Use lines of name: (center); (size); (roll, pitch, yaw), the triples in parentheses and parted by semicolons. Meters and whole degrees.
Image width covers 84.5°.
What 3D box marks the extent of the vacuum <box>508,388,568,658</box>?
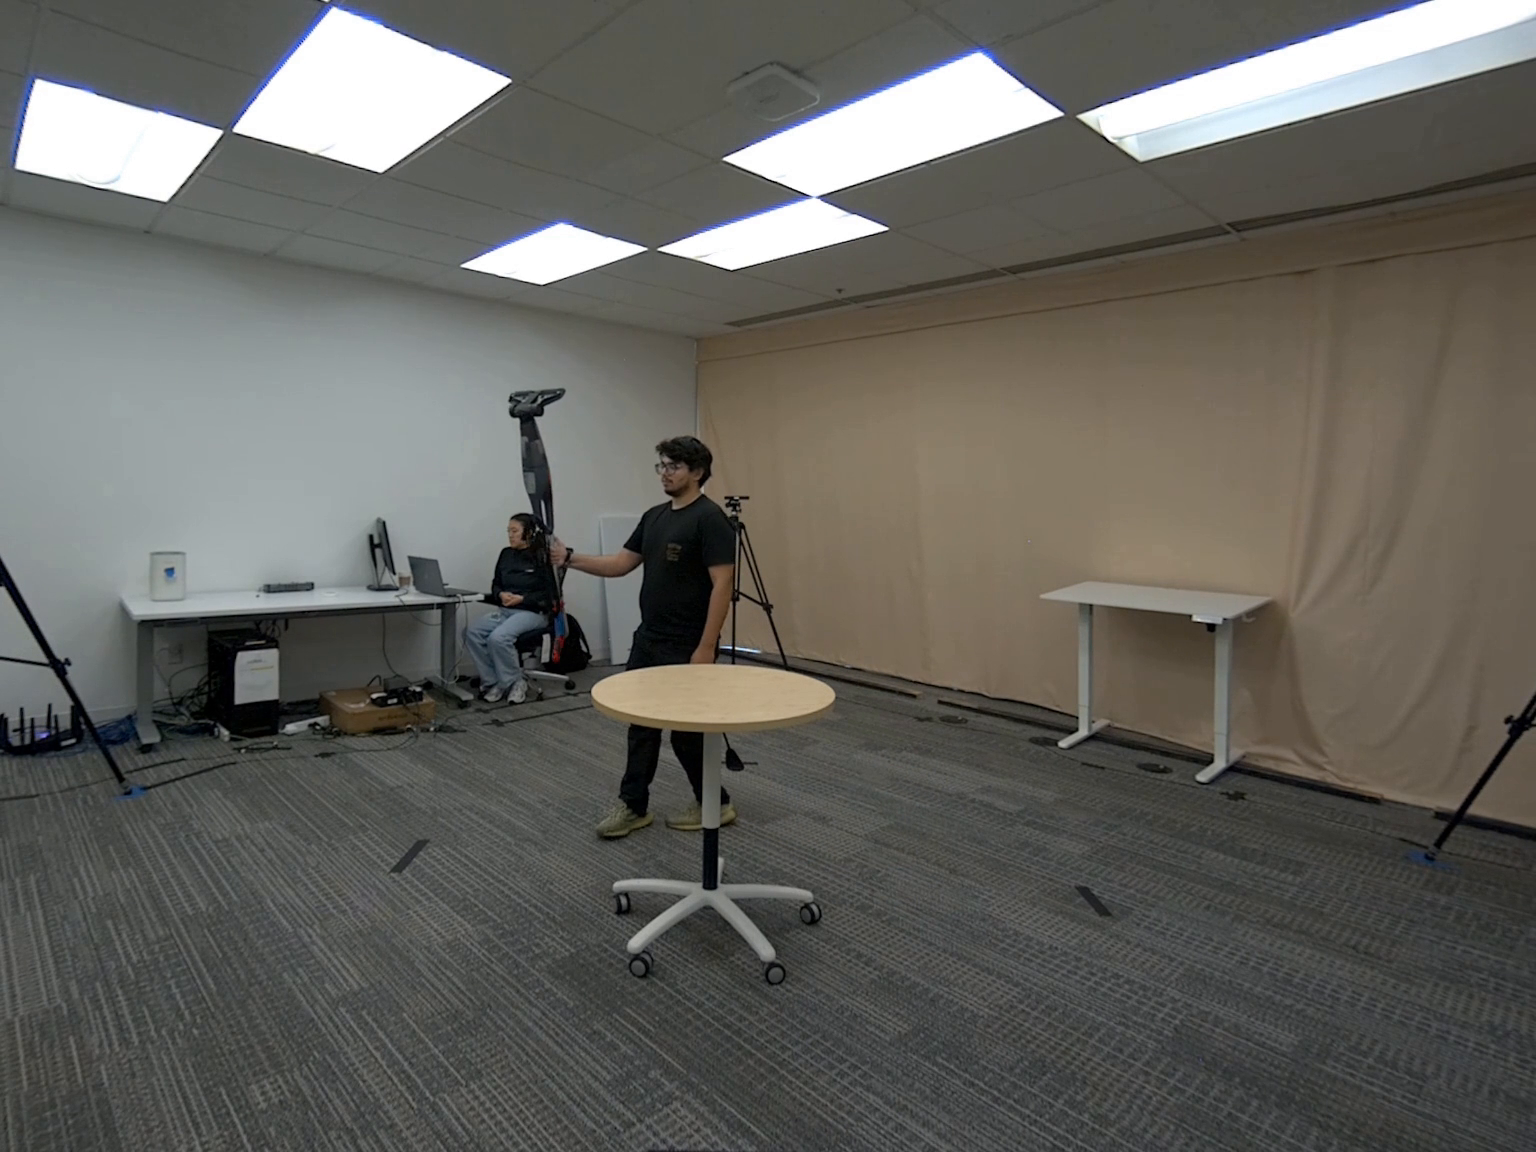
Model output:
vacuum: (-0.903, -0.183, 3.372); (0.257, 1.042, 0.142); (1, 10, 27)
